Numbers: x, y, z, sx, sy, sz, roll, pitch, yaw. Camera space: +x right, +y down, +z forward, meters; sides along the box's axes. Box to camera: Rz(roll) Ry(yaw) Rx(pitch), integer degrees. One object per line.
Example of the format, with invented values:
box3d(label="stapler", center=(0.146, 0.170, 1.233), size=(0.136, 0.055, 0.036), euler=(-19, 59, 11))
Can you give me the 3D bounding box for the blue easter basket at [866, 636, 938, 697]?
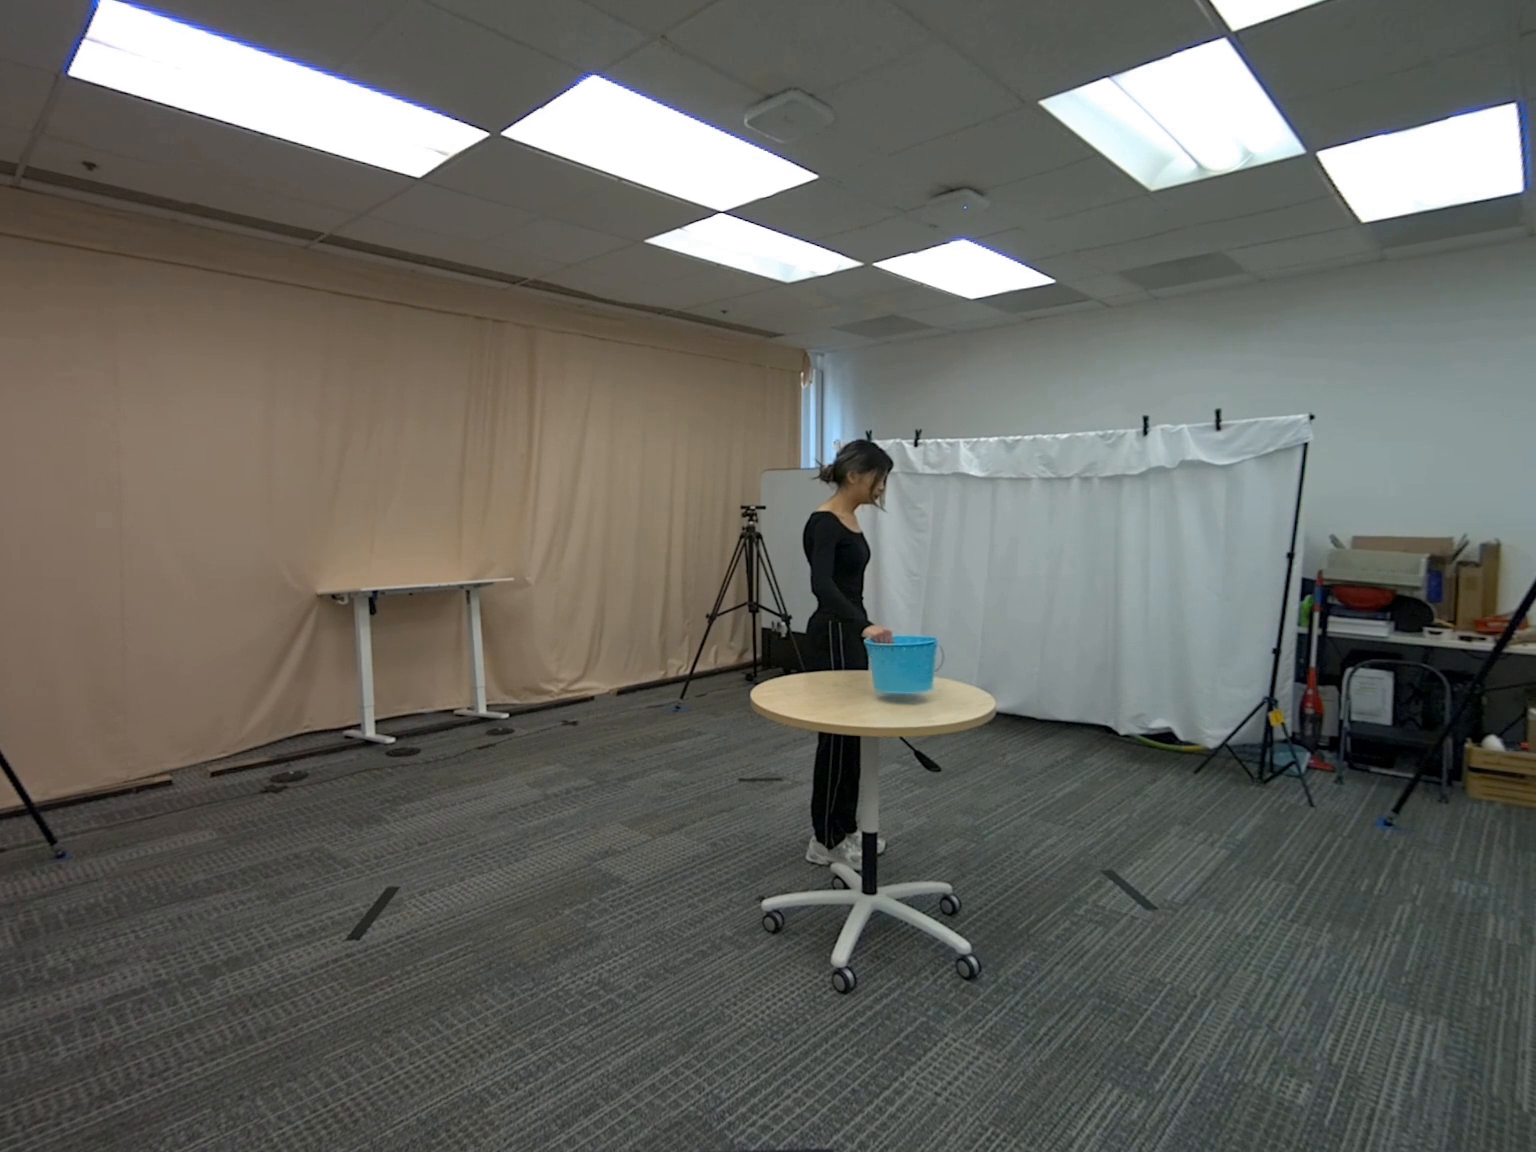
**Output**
box3d(label="blue easter basket", center=(0.436, 0.277, 2.643), size=(0.243, 0.156, 0.244), euler=(-3, 2, -2))
